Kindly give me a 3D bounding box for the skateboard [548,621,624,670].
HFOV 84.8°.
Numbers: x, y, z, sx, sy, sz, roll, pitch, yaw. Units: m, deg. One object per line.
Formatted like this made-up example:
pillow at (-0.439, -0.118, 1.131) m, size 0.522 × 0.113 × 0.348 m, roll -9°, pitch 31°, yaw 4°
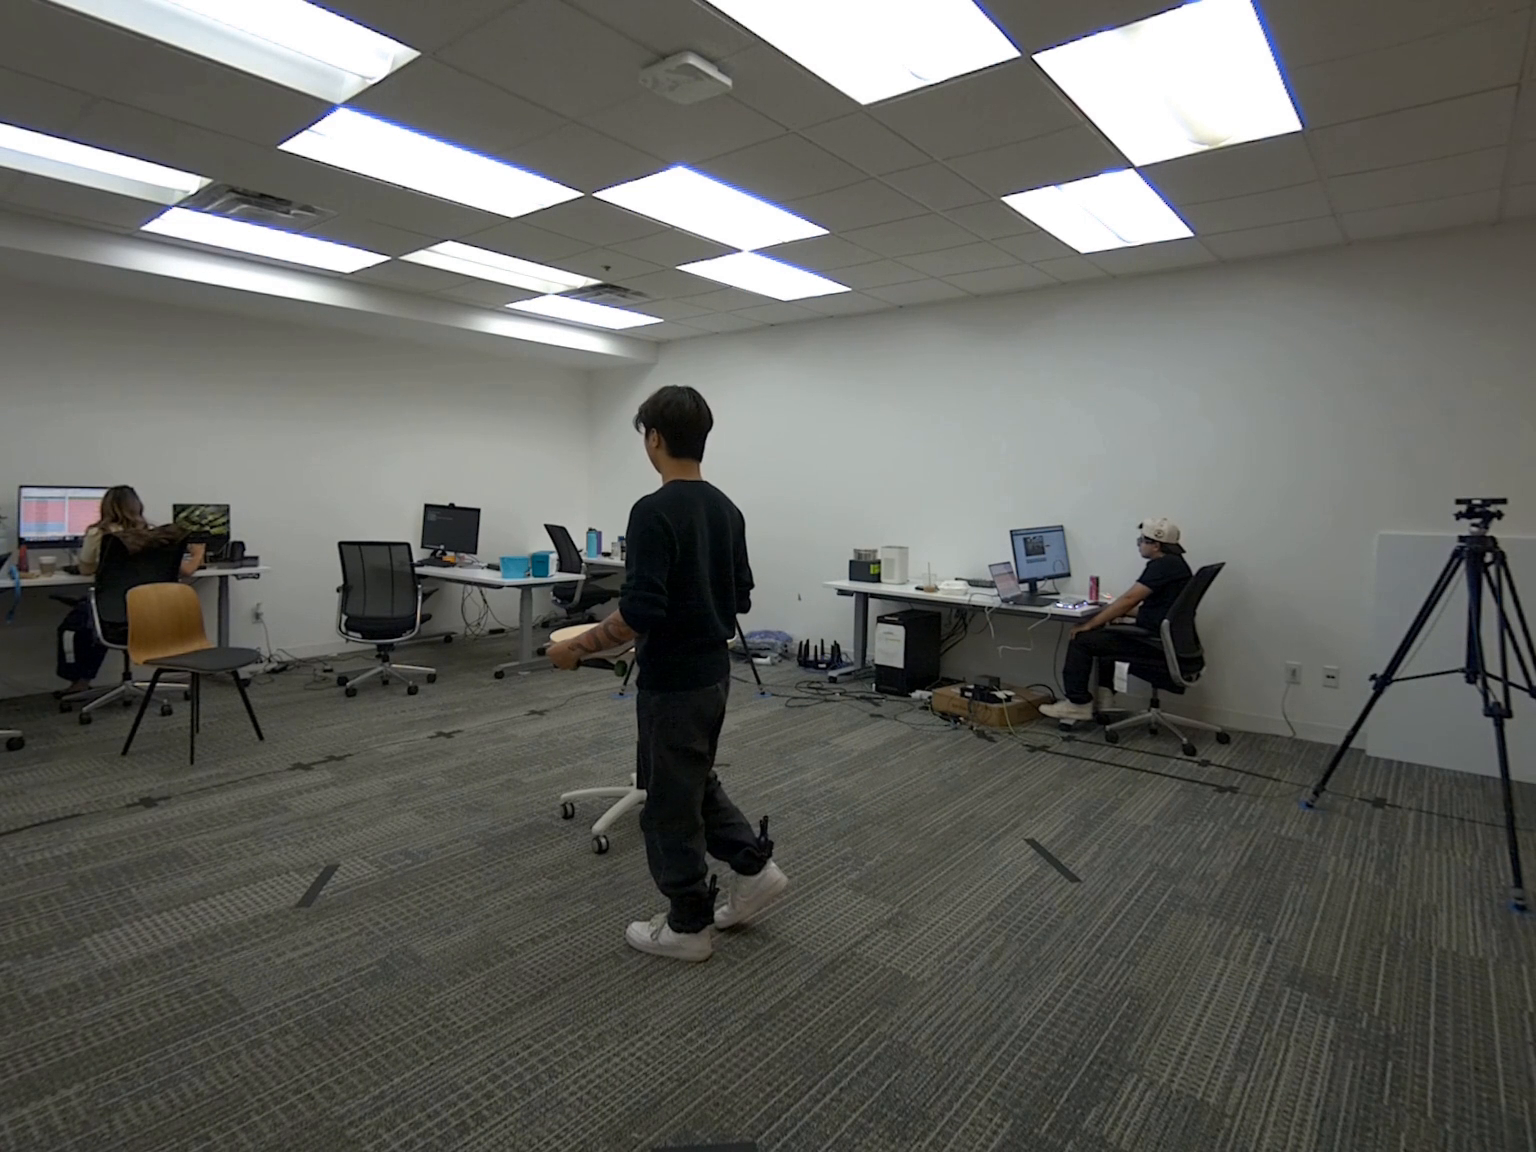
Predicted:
skateboard at (-0.480, 0.218, 2.732) m, size 0.197 × 0.109 × 0.776 m, roll 5°, pitch 8°, yaw 14°
